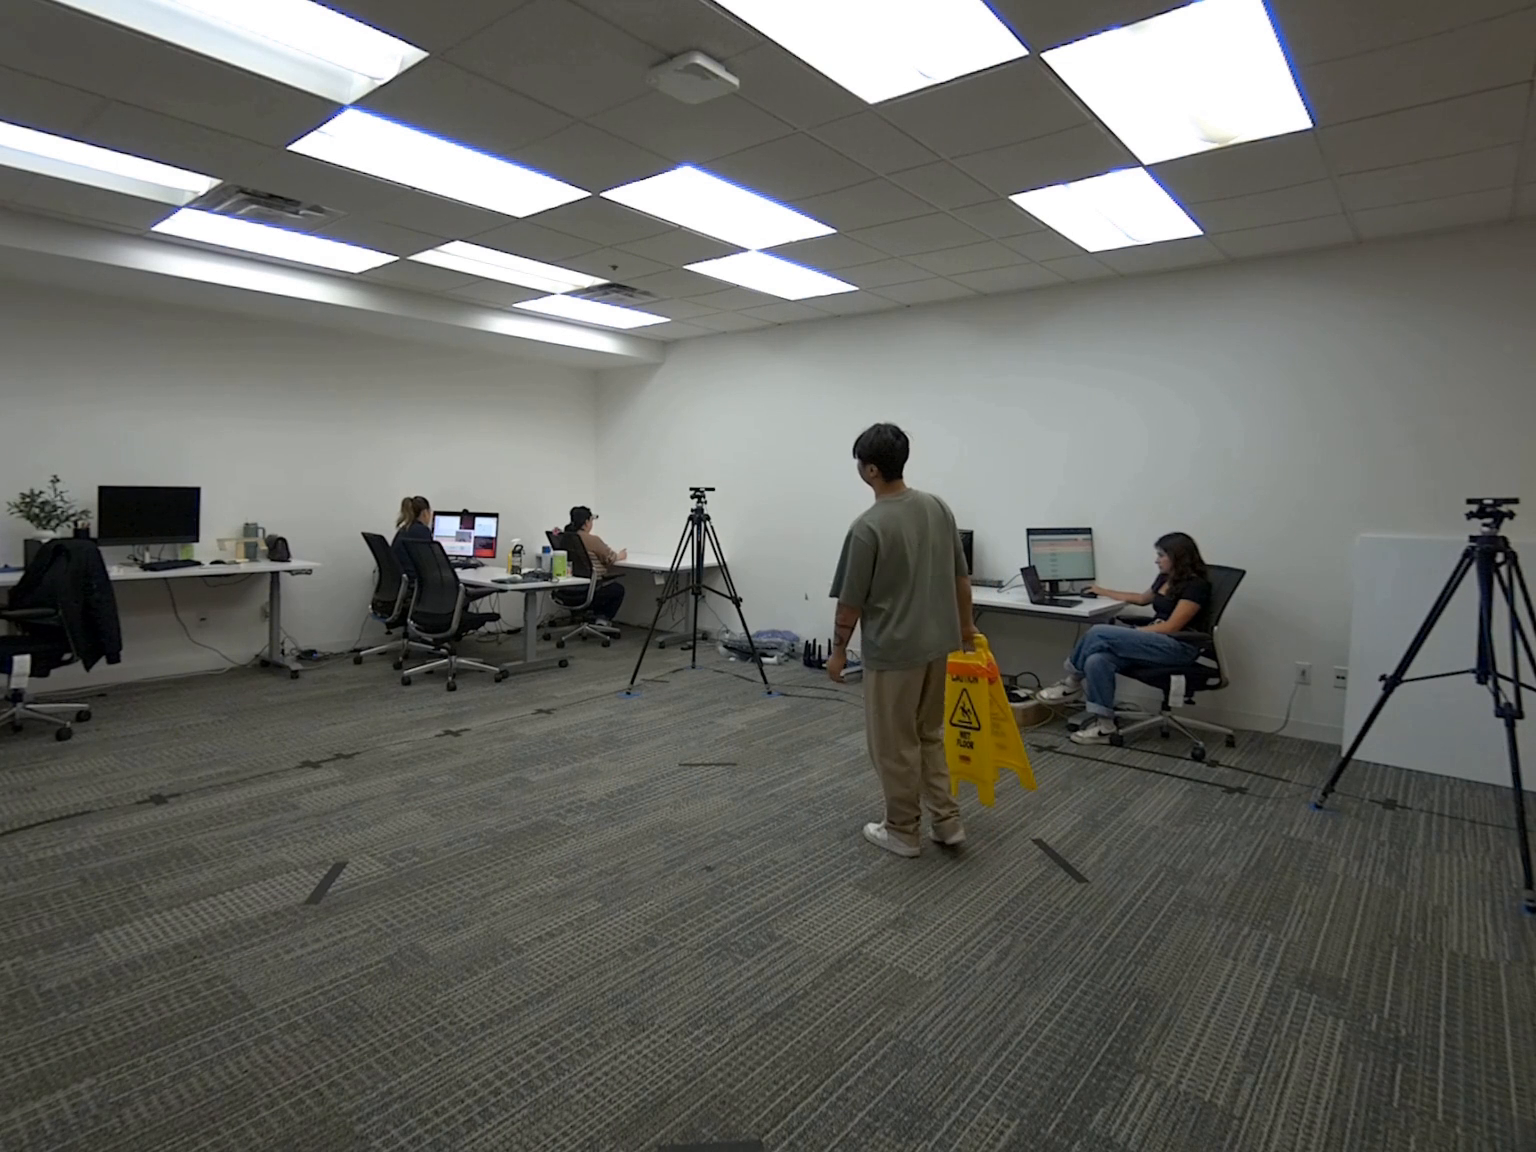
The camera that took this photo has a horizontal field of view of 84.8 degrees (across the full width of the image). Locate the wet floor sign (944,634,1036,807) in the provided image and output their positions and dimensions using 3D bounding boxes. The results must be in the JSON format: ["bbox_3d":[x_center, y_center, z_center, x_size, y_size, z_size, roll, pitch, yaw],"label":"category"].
[{"bbox_3d":[0.848,0.561,3.472,0.283,0.647,0.288,-9,-1,-27],"label":"wet floor sign"}]
